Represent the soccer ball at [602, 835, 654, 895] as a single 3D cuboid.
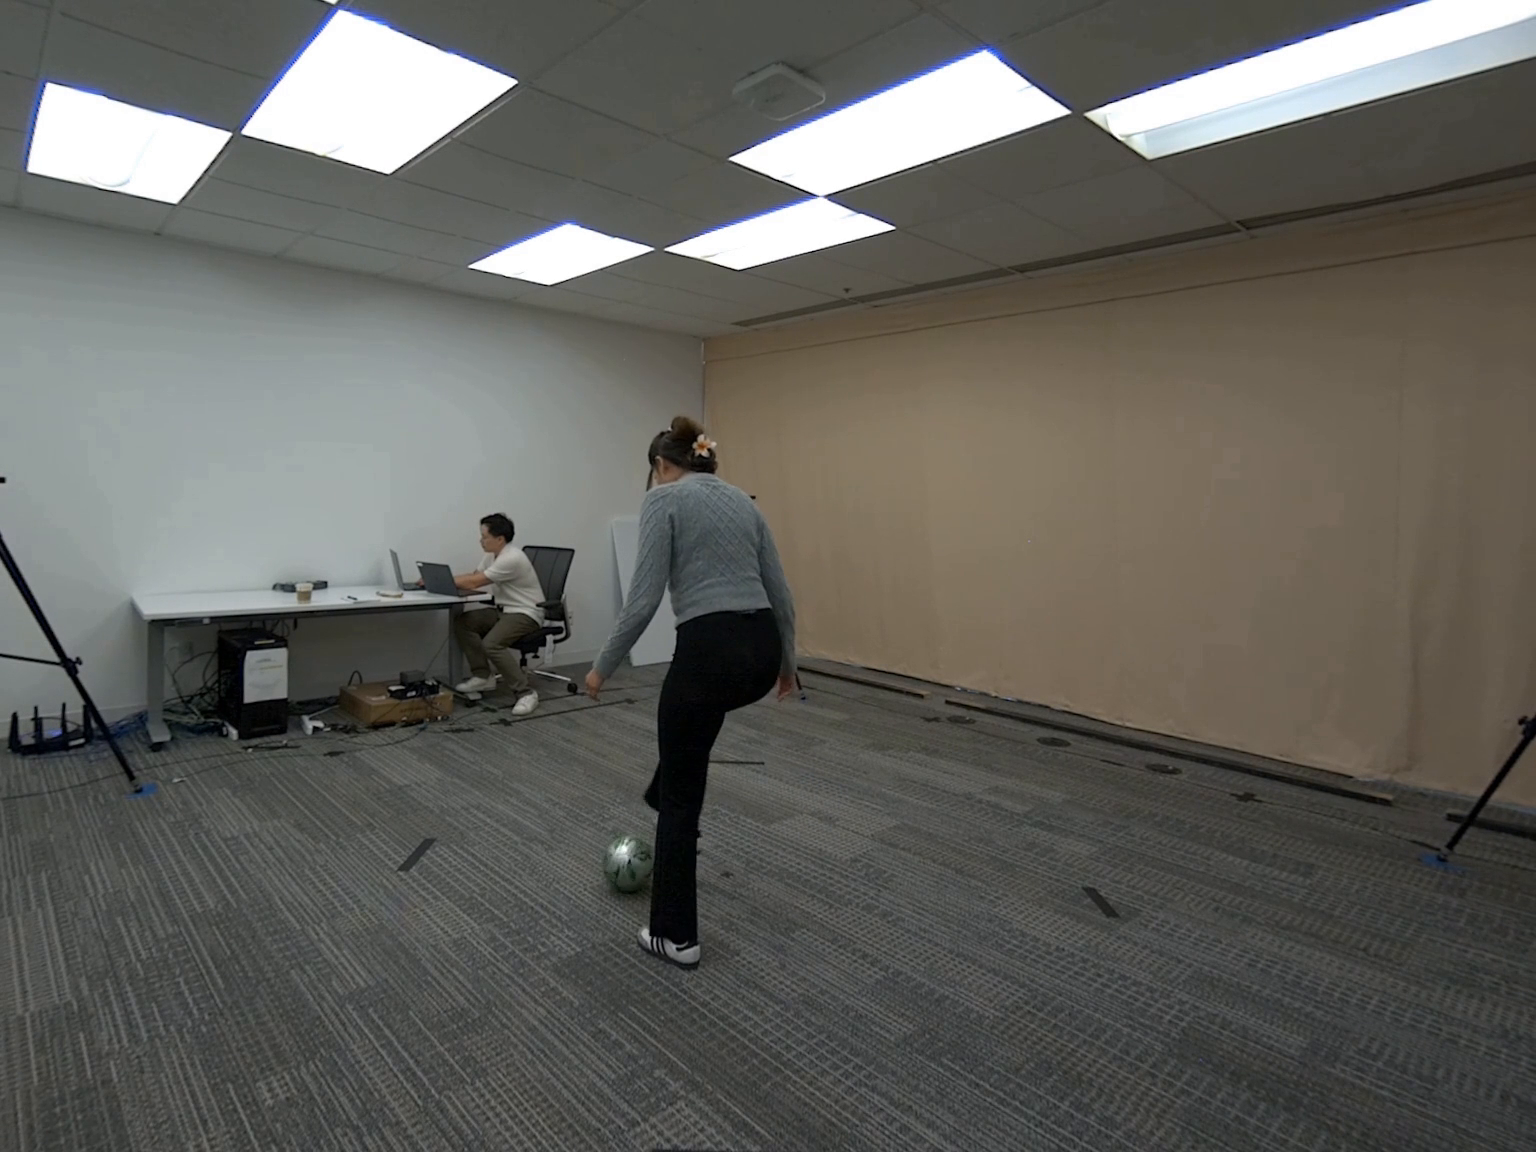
[{"bbox_3d":[-0.495,1.011,2.969,0.187,0.187,0.188,1,4,-1],"label":"soccer ball"}]
